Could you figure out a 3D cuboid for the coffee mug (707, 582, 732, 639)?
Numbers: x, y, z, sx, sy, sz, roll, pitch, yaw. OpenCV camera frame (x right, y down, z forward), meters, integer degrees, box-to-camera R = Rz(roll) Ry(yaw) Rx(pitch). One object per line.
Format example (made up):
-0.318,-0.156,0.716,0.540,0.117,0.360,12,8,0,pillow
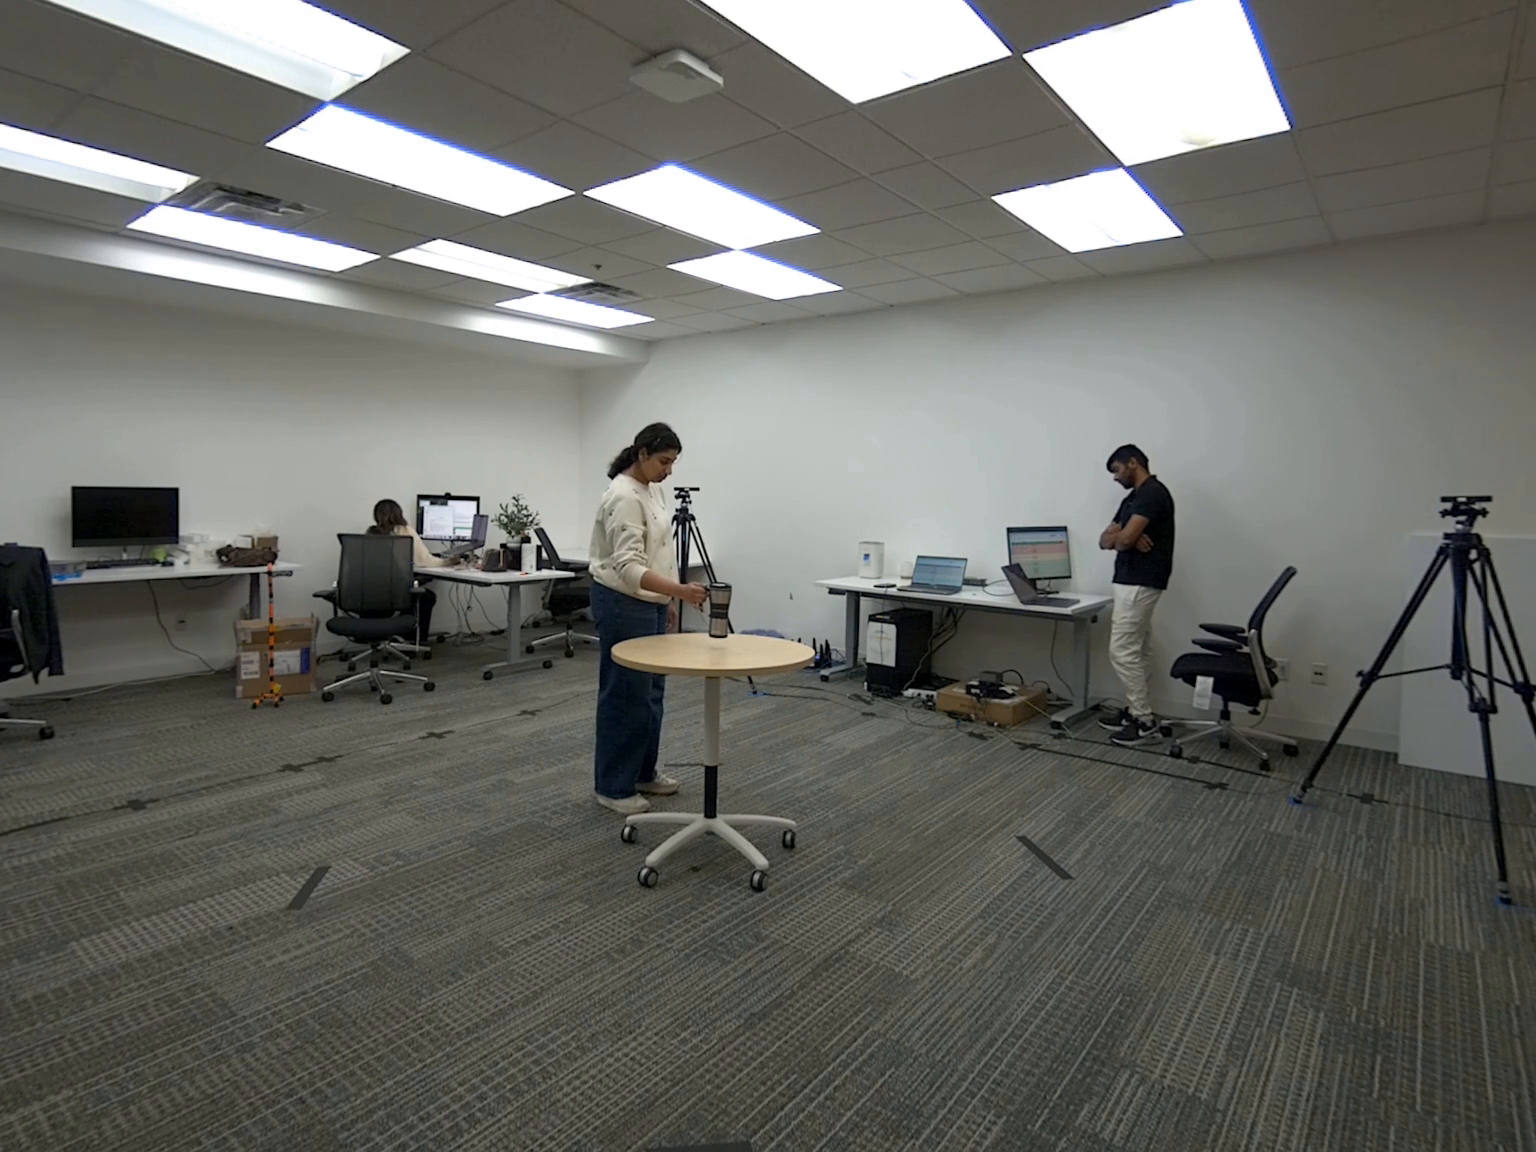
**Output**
-0.211,0.126,3.241,0.126,0.202,0.085,10,10,44,coffee mug
